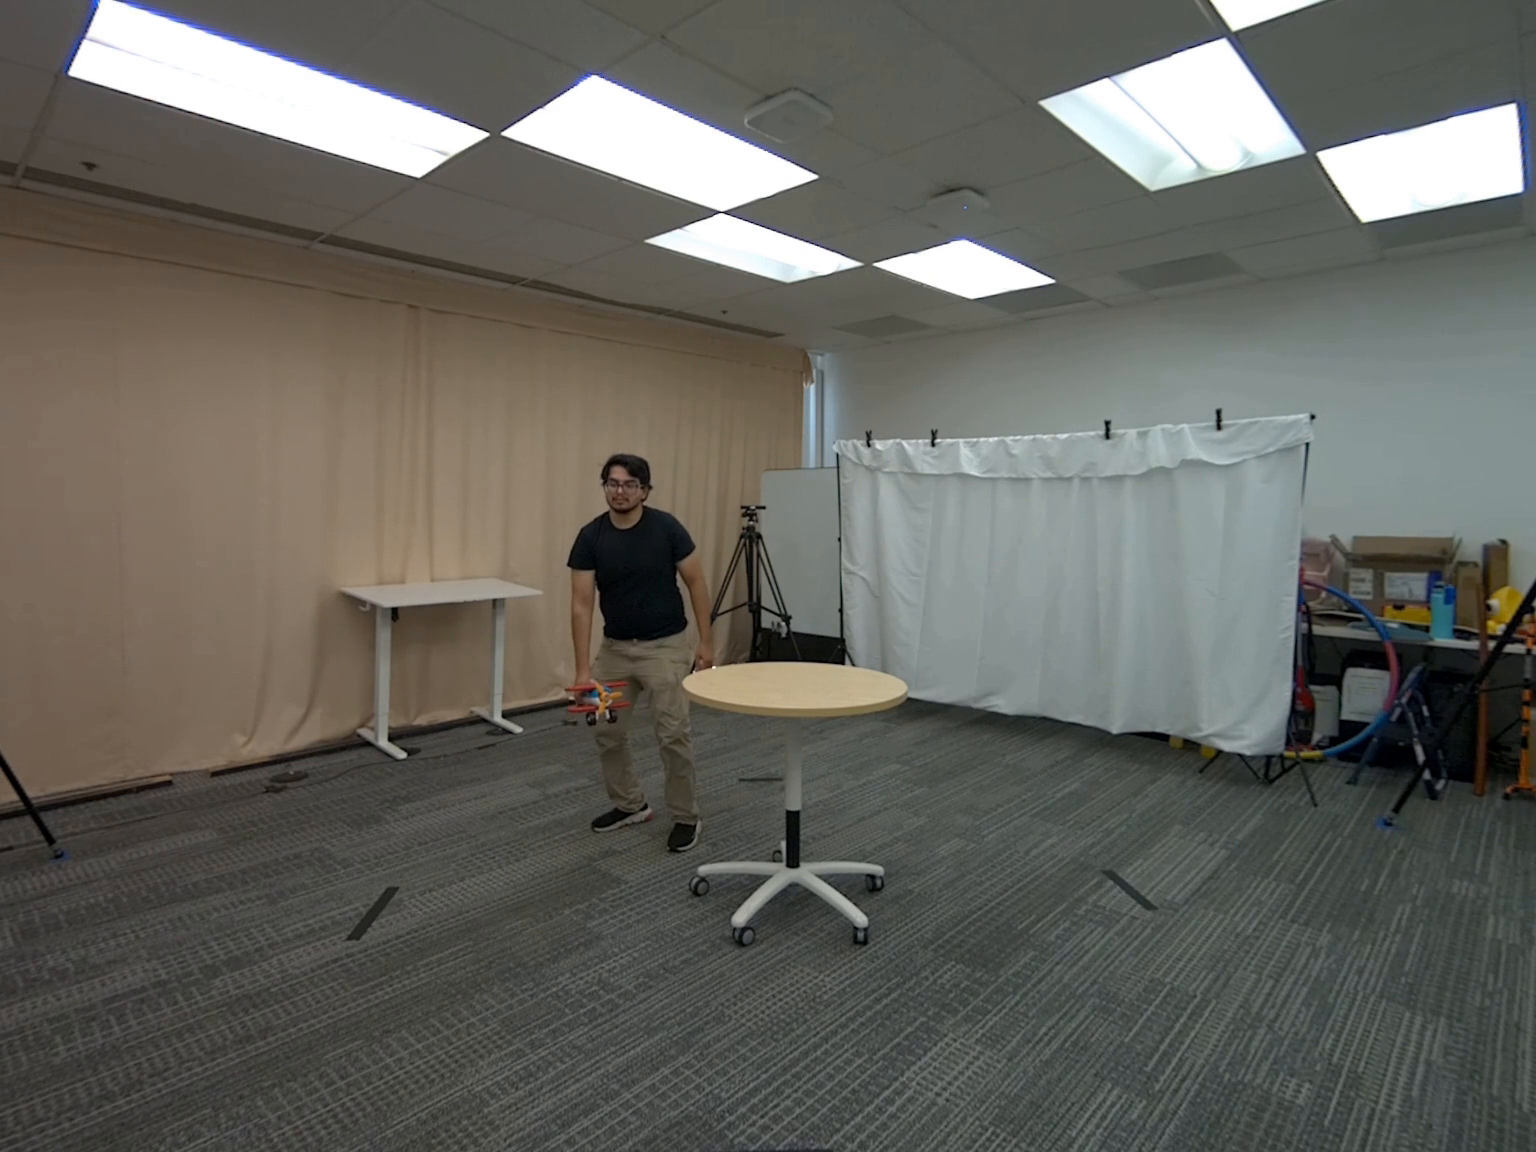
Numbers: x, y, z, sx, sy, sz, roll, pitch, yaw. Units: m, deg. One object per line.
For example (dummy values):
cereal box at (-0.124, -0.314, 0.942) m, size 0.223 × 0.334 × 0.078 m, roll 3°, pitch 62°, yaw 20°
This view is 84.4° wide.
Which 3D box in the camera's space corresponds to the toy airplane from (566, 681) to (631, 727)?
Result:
toy airplane at (-0.691, 0.488, 3.310) m, size 0.267 × 0.156 × 0.244 m, roll 7°, pitch 9°, yaw 33°
